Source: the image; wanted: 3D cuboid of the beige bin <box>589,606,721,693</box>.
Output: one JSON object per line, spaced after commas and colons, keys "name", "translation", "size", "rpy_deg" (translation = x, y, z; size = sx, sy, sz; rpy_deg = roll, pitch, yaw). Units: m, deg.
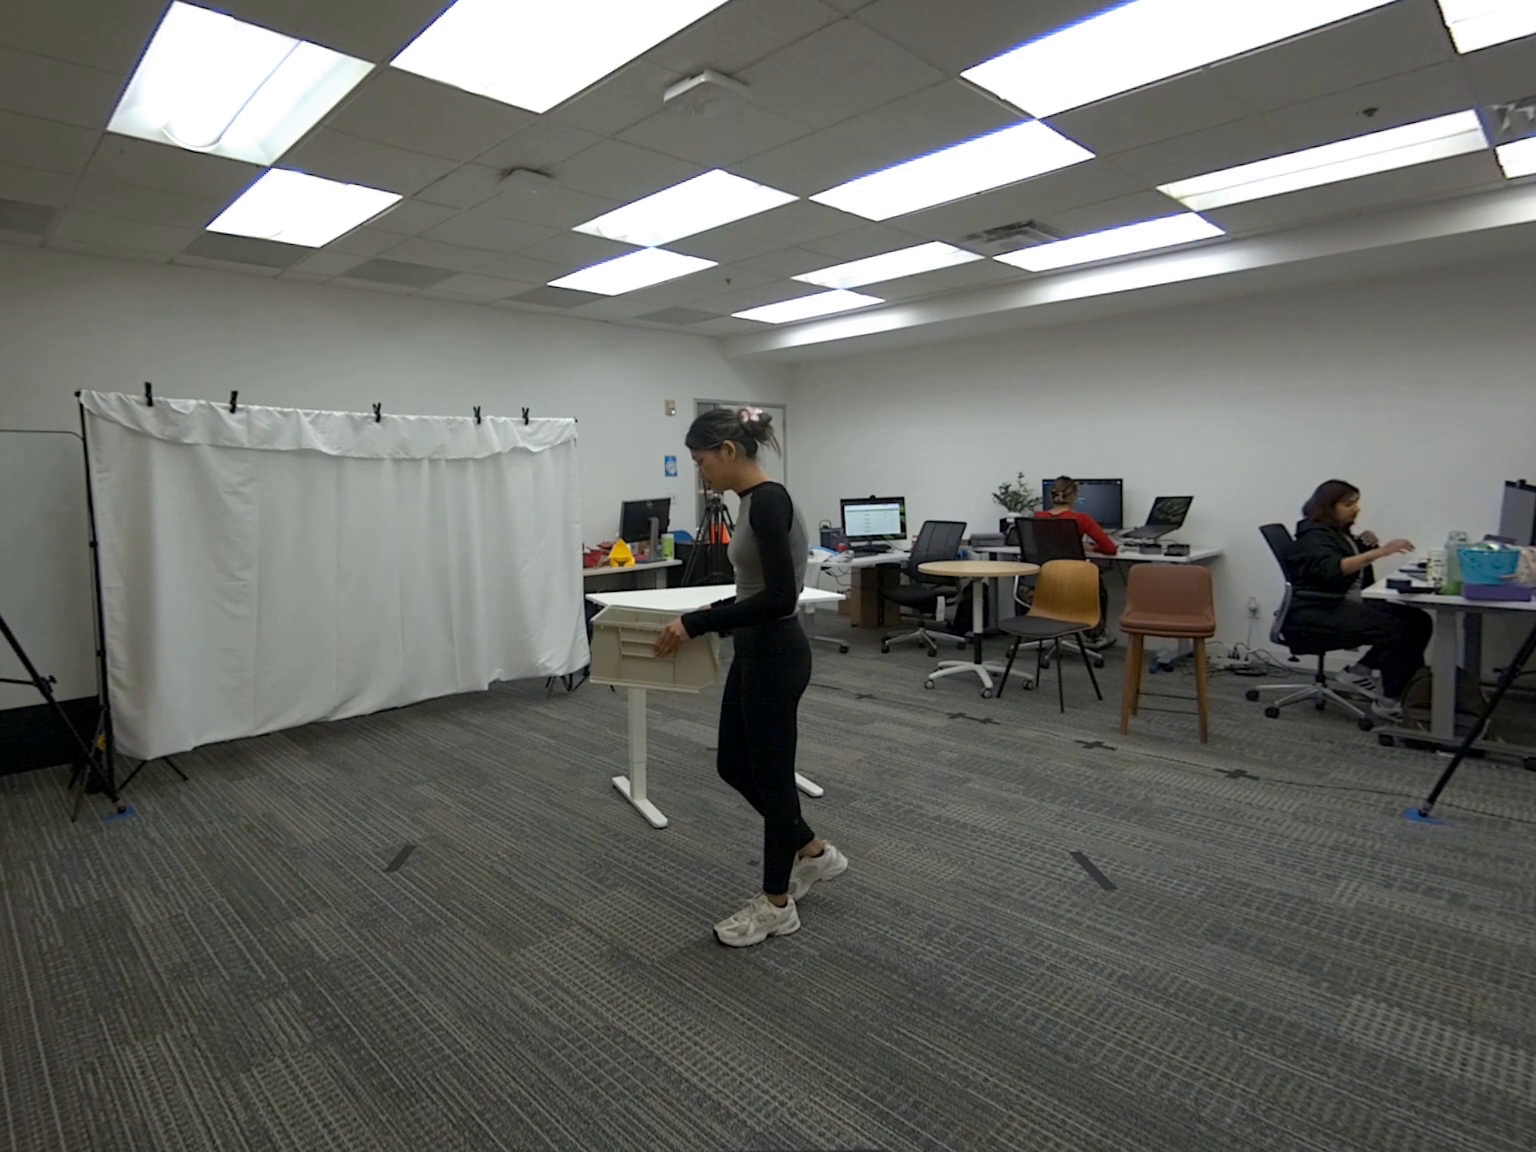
{"name": "beige bin", "translation": [-0.330, 0.219, 2.607], "size": [0.377, 0.188, 0.424], "rpy_deg": [5, 4, -2]}
